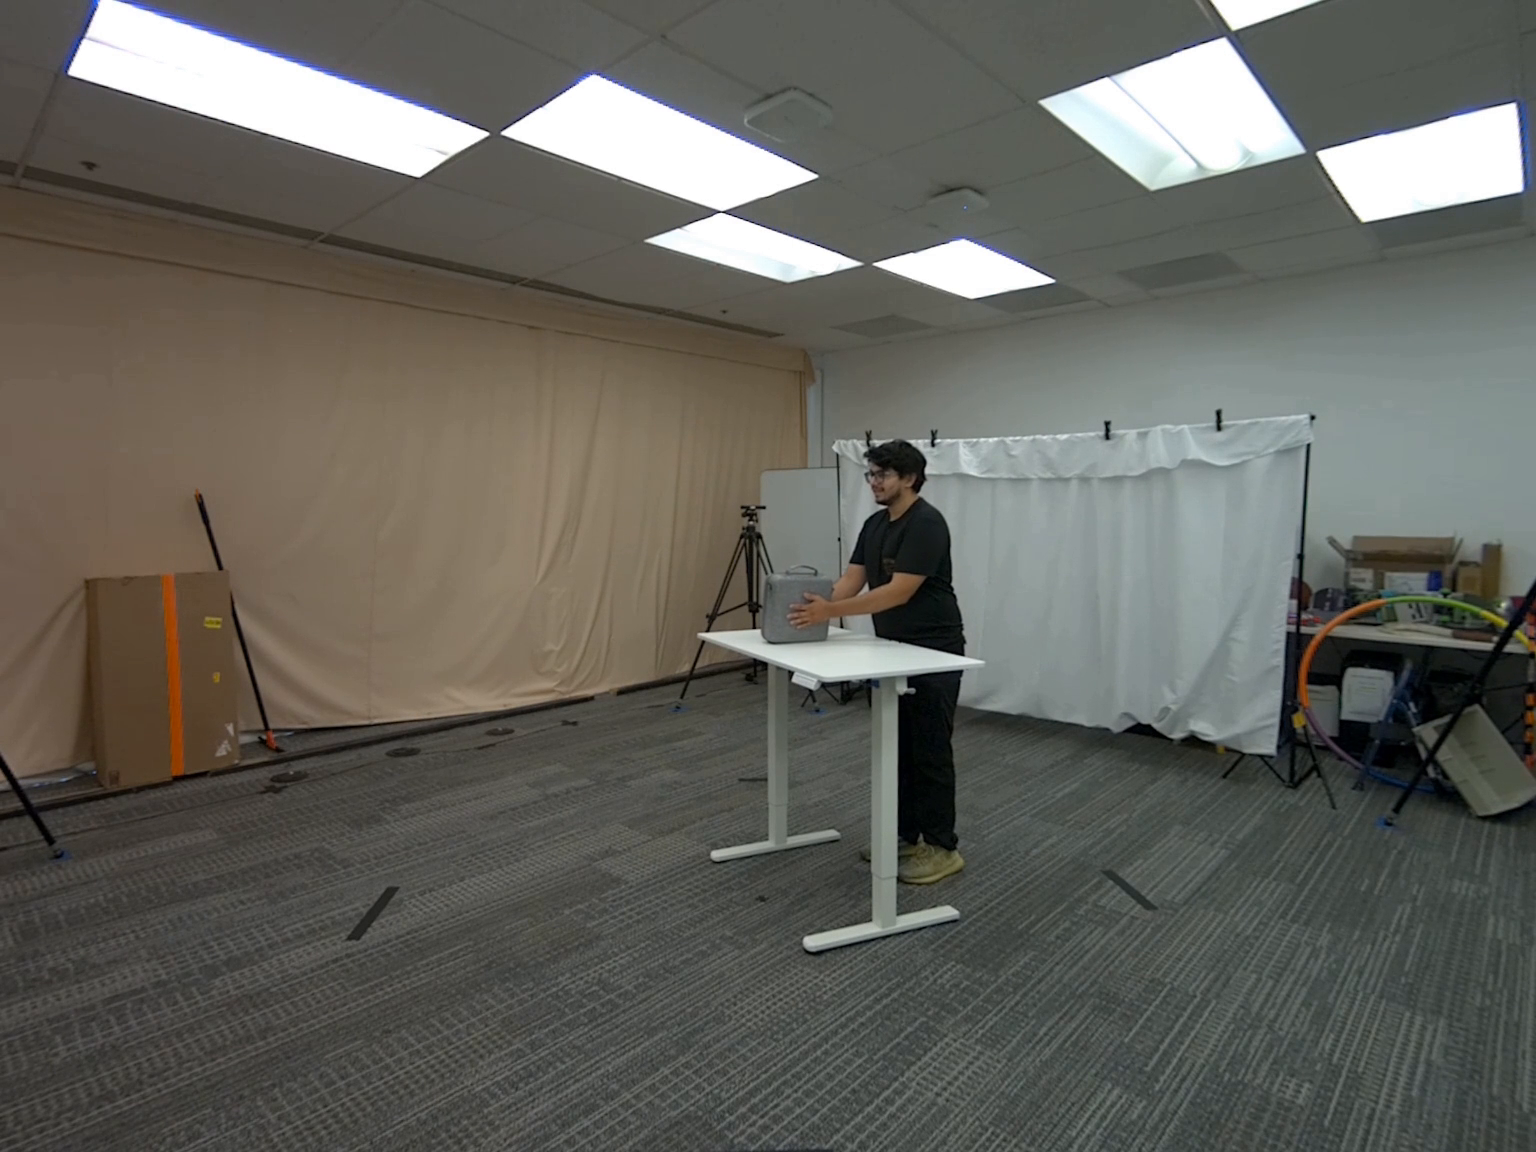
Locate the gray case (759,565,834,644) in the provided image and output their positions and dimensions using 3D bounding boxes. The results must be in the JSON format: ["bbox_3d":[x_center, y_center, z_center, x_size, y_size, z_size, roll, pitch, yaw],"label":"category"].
[{"bbox_3d":[0.113,0.118,3.147,0.252,0.259,0.107,1,9,-20],"label":"gray case"}]
